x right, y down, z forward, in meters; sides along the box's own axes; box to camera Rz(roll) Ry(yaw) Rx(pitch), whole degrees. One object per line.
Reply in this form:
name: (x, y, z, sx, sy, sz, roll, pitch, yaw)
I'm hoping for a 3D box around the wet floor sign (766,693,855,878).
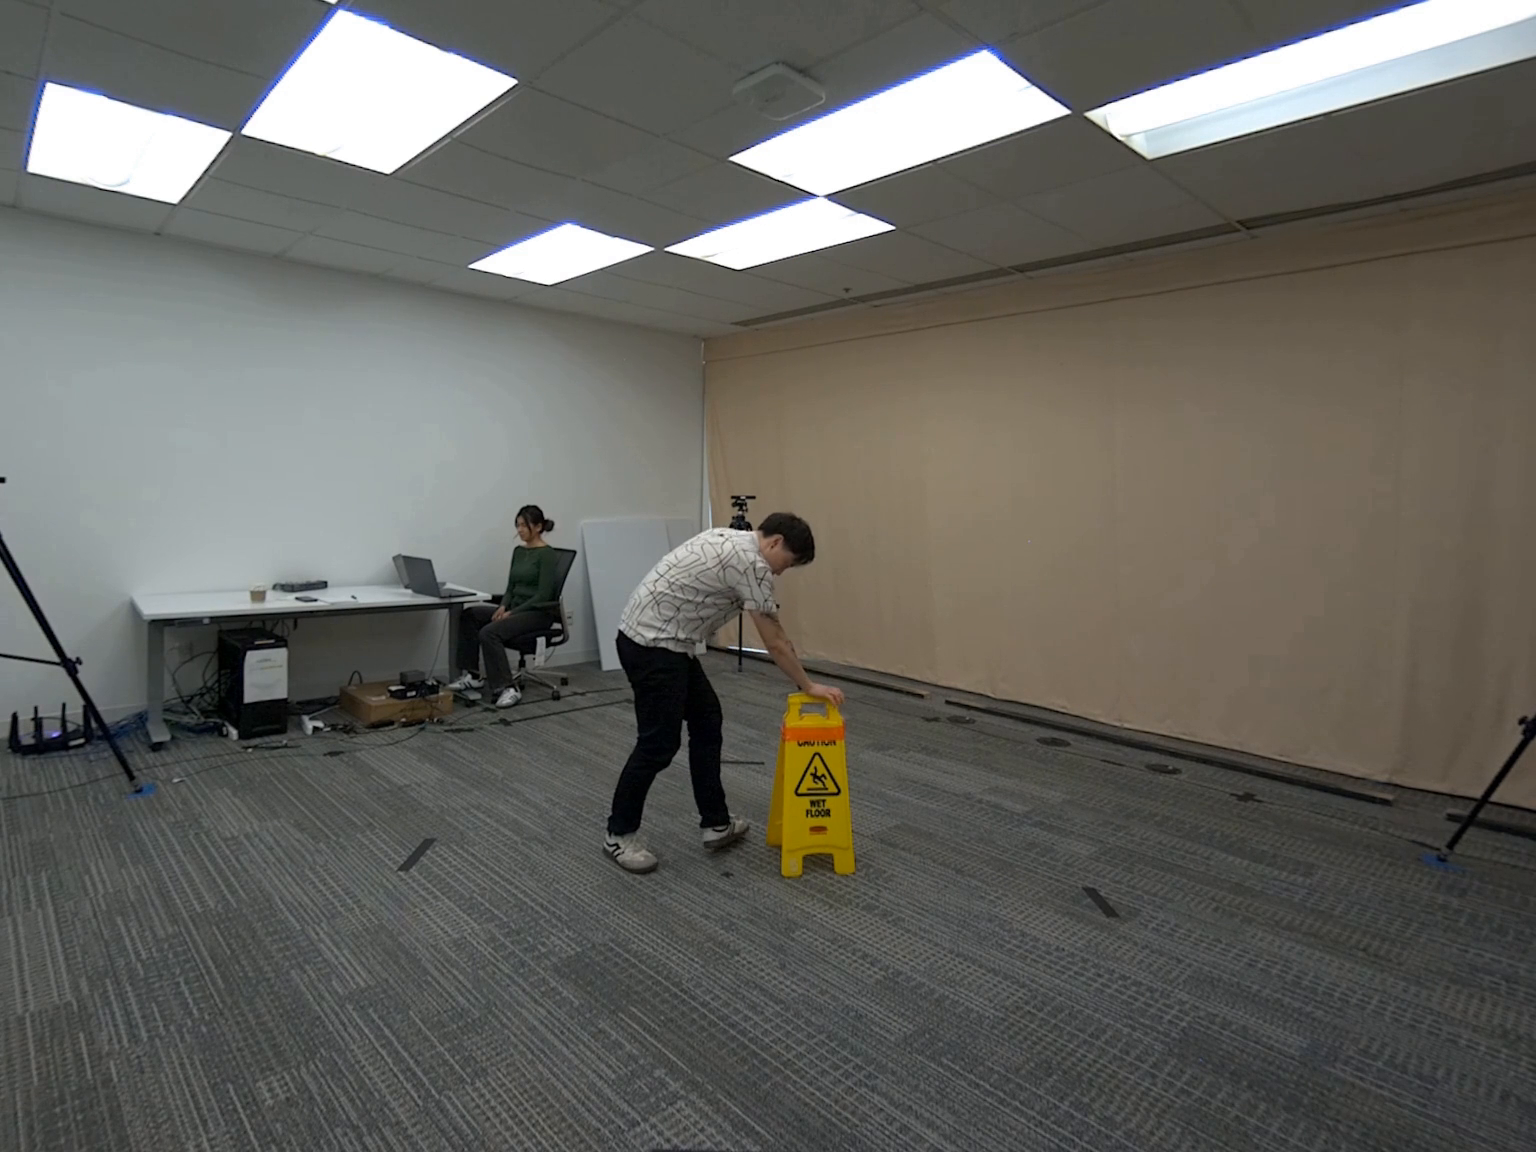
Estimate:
wet floor sign: (0.158, 0.769, 3.247, 0.280, 0.645, 0.293, 1, 3, -11)
